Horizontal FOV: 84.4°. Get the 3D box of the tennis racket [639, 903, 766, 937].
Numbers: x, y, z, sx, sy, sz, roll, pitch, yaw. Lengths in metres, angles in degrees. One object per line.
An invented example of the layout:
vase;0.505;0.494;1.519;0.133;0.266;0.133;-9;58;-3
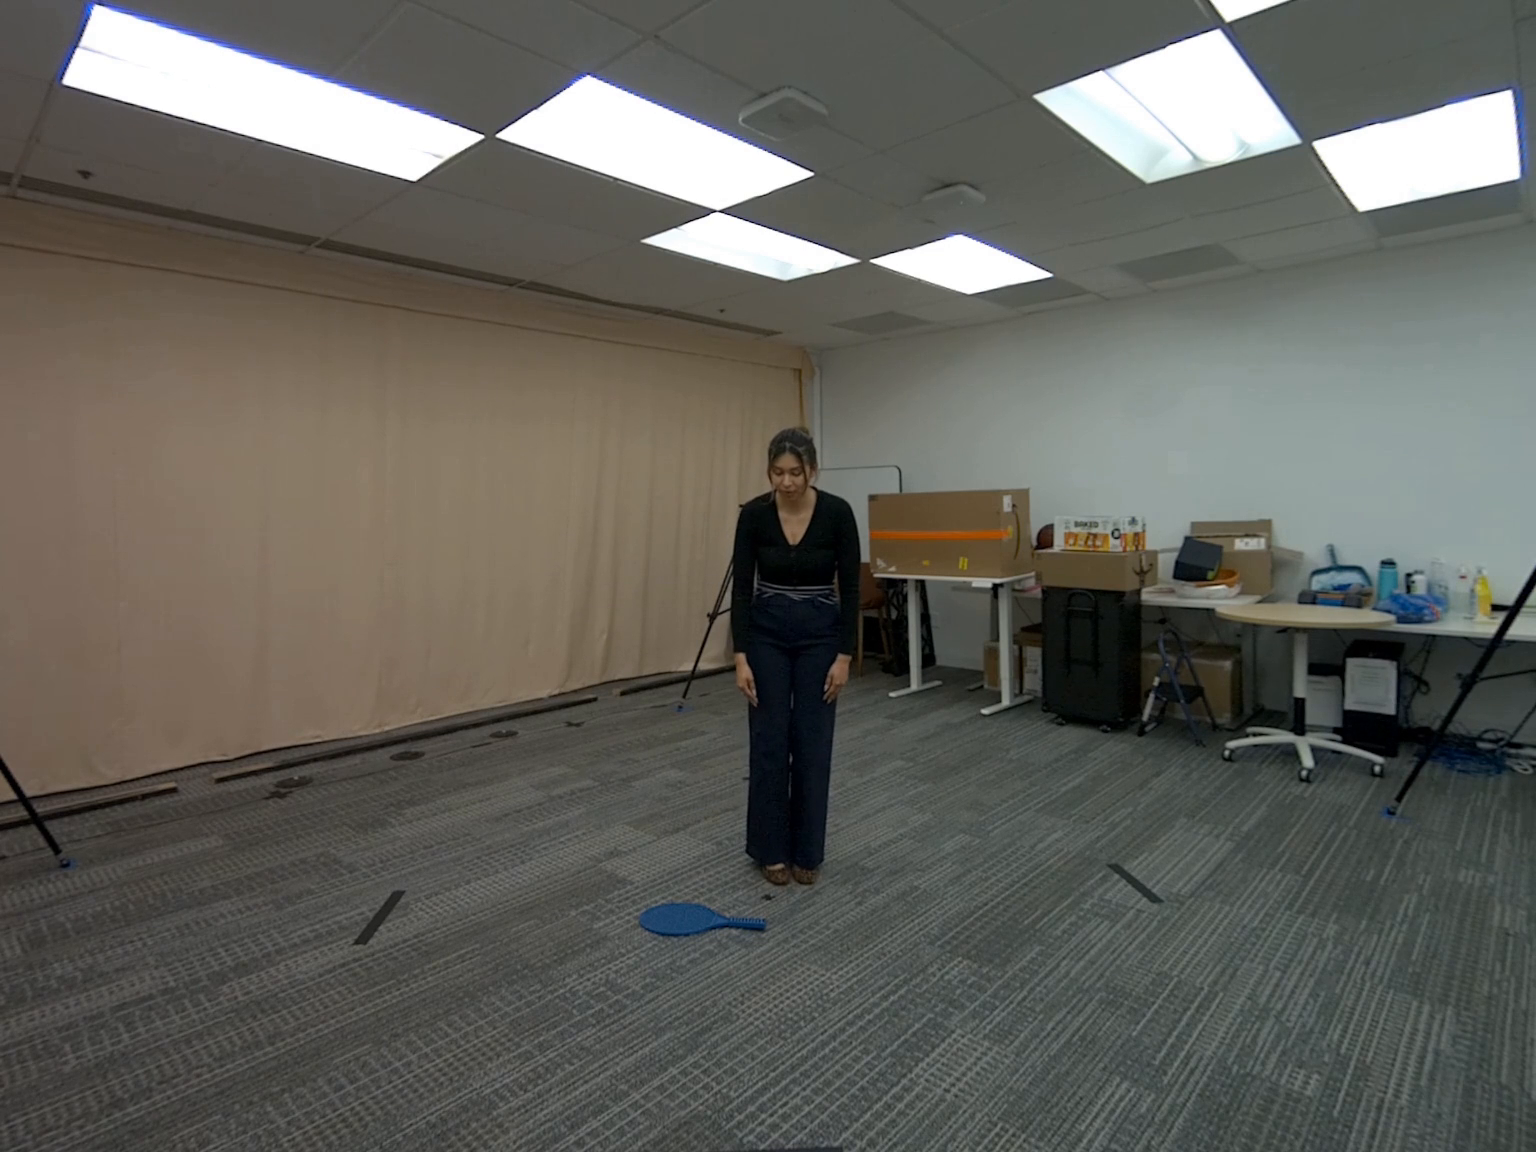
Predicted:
tennis racket;-0.219;1.145;2.810;0.438;0.032;0.212;-2;5;11
